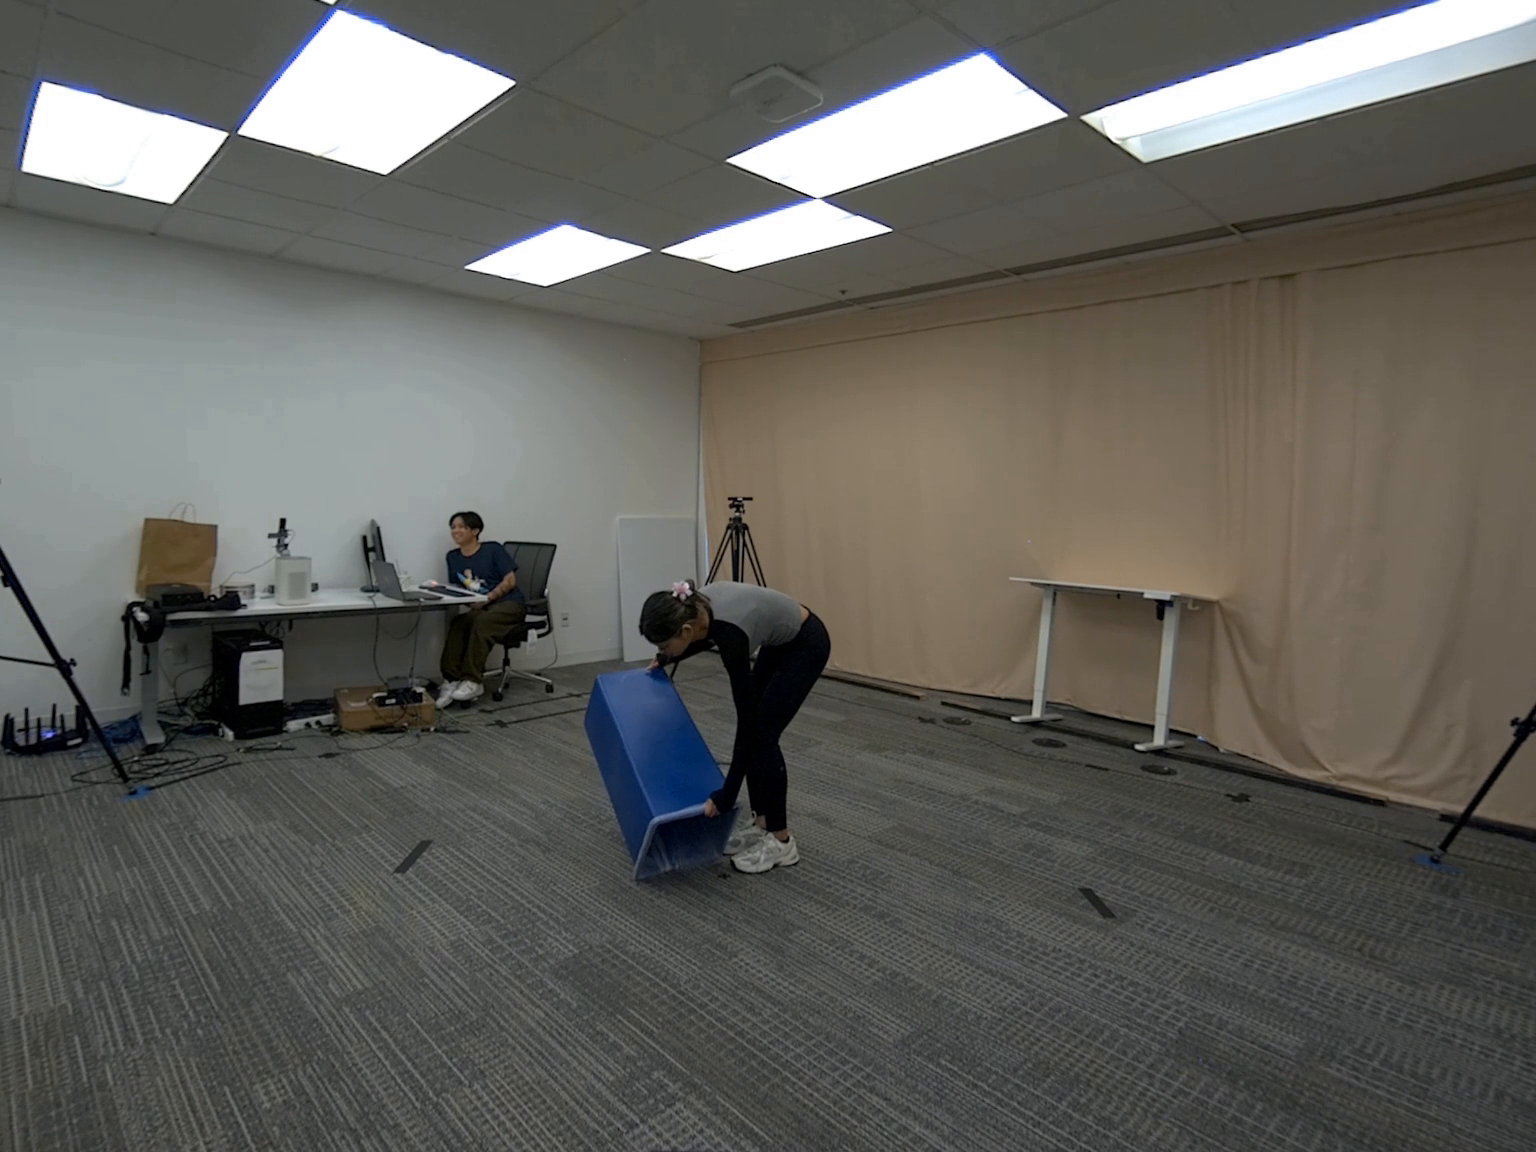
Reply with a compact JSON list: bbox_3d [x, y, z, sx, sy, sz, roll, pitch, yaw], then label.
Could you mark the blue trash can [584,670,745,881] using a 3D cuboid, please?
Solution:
[{"bbox_3d":[-0.454,0.728,3.264,0.371,0.369,0.736,-5,43,-31],"label":"blue trash can"}]
